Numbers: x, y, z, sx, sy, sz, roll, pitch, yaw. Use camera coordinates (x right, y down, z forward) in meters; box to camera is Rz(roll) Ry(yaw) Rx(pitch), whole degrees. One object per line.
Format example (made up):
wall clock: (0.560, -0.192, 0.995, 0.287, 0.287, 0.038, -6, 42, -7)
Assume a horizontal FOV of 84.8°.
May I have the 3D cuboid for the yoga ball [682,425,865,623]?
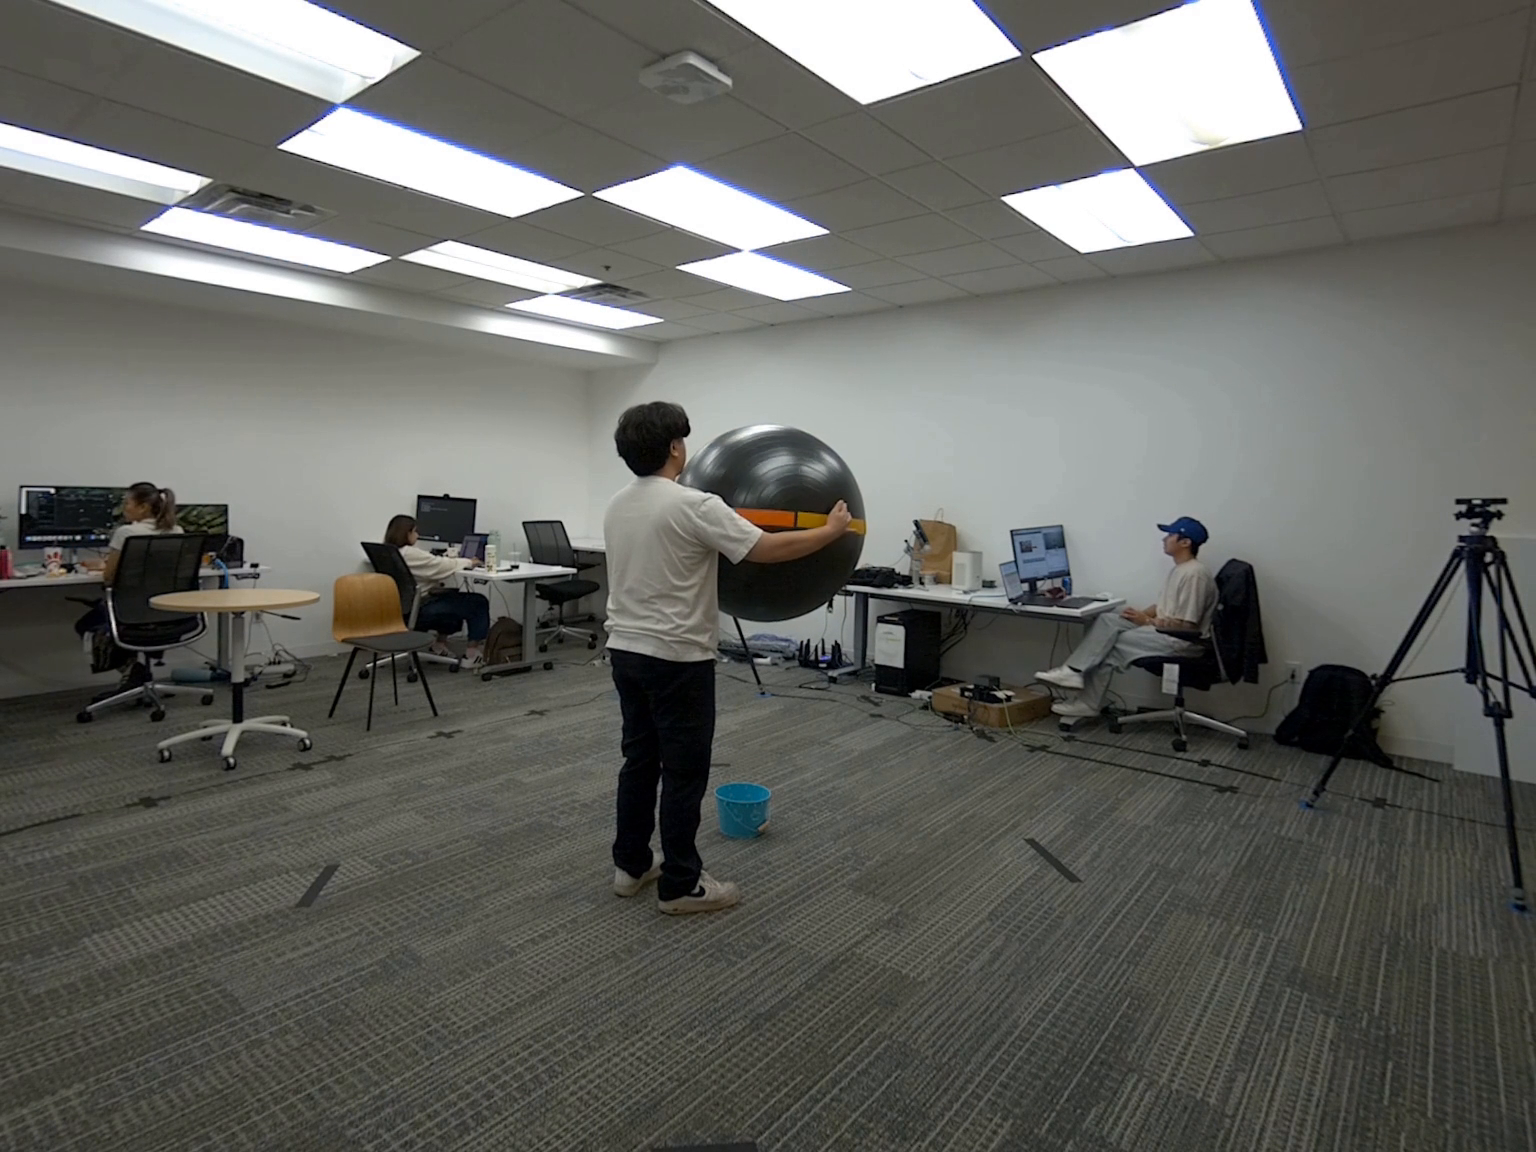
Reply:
yoga ball: (-0.009, -0.194, 3.274, 0.757, 0.755, 0.762, 1, 4, -2)
